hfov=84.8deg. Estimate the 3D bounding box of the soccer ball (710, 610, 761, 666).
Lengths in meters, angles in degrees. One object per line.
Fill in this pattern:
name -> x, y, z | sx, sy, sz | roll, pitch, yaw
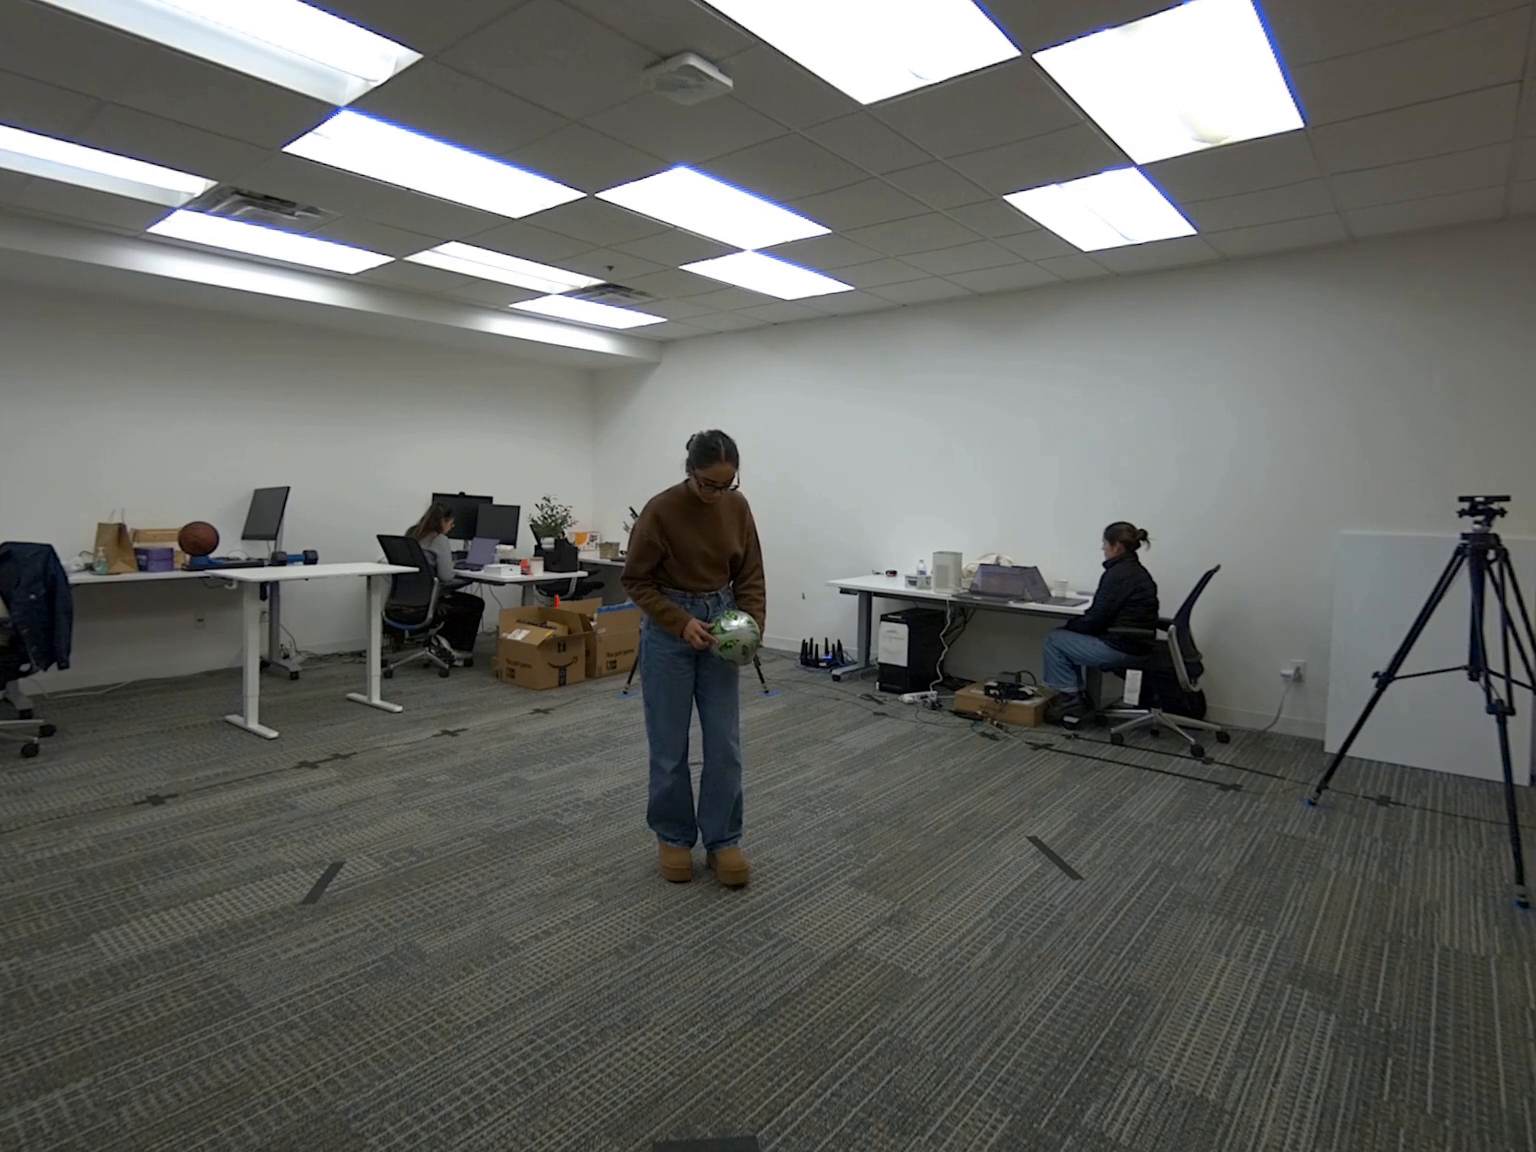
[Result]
soccer ball -> -0.133, 0.215, 2.904 | 0.187, 0.187, 0.188 | 1, 4, -2
